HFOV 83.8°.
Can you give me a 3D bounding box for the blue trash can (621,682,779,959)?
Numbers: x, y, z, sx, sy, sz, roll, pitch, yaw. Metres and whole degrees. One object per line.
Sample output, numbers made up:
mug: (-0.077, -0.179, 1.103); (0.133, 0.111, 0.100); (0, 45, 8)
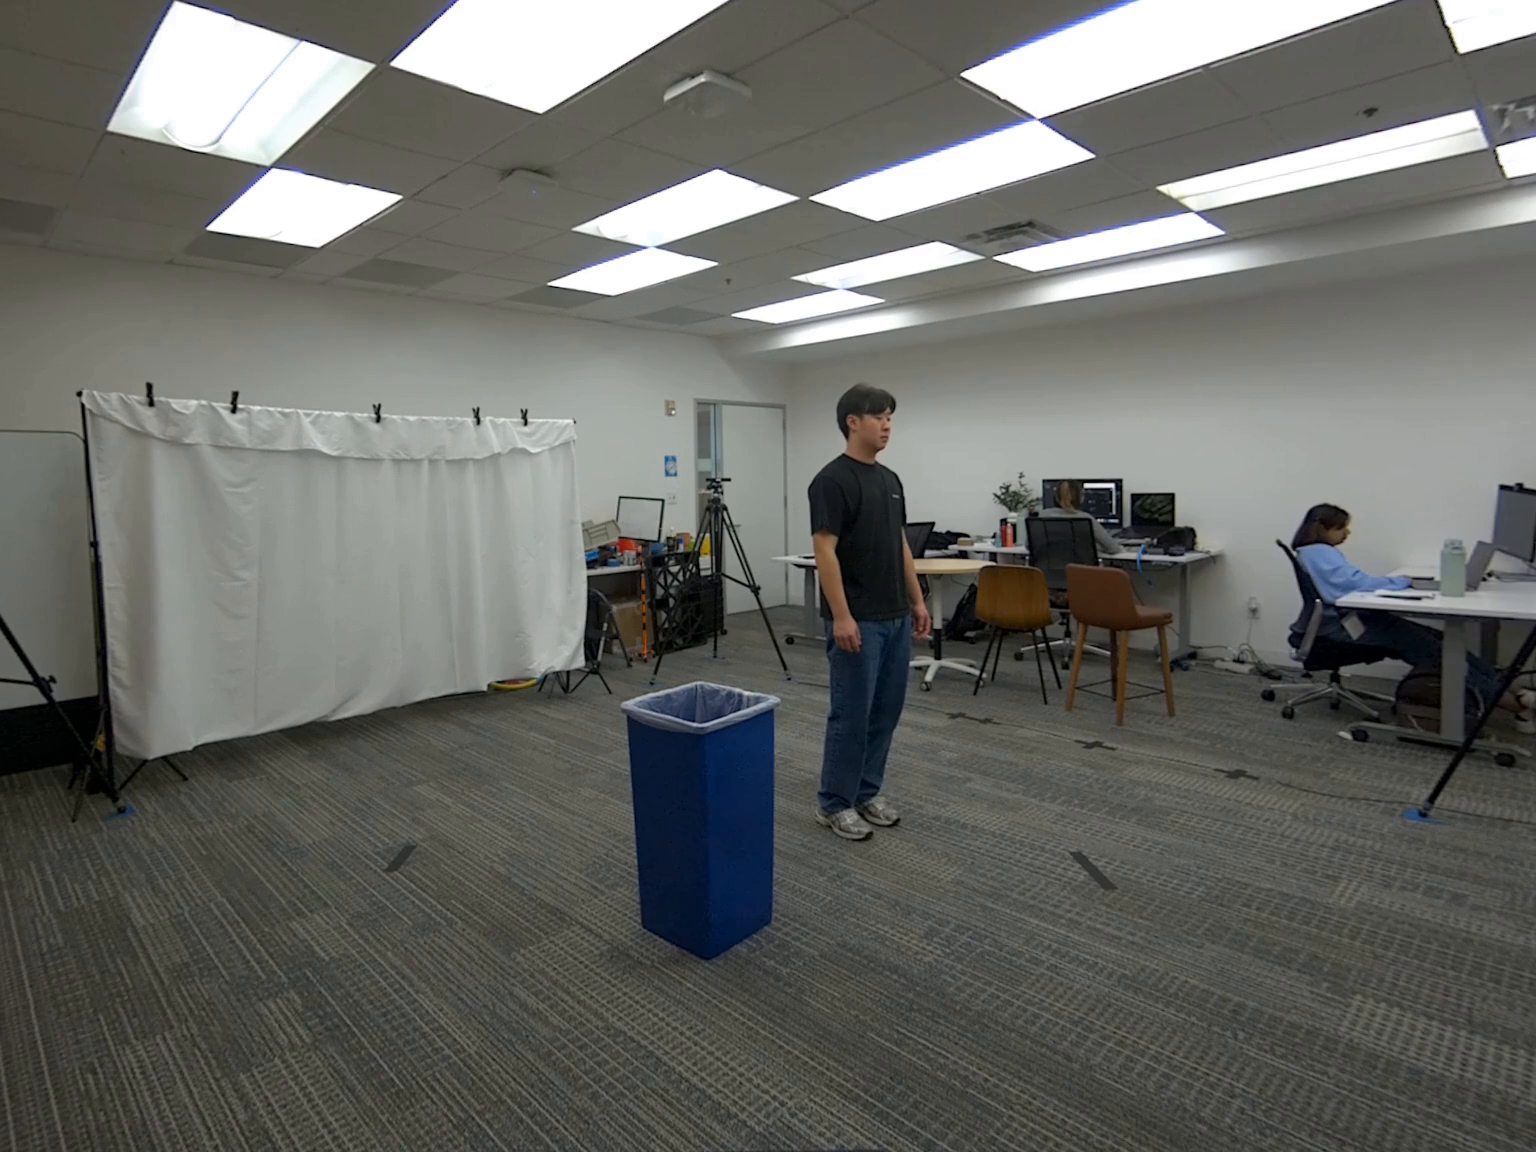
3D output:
blue trash can: (-0.195, 0.739, 2.655); (0.389, 0.711, 0.364); (2, 5, 41)
